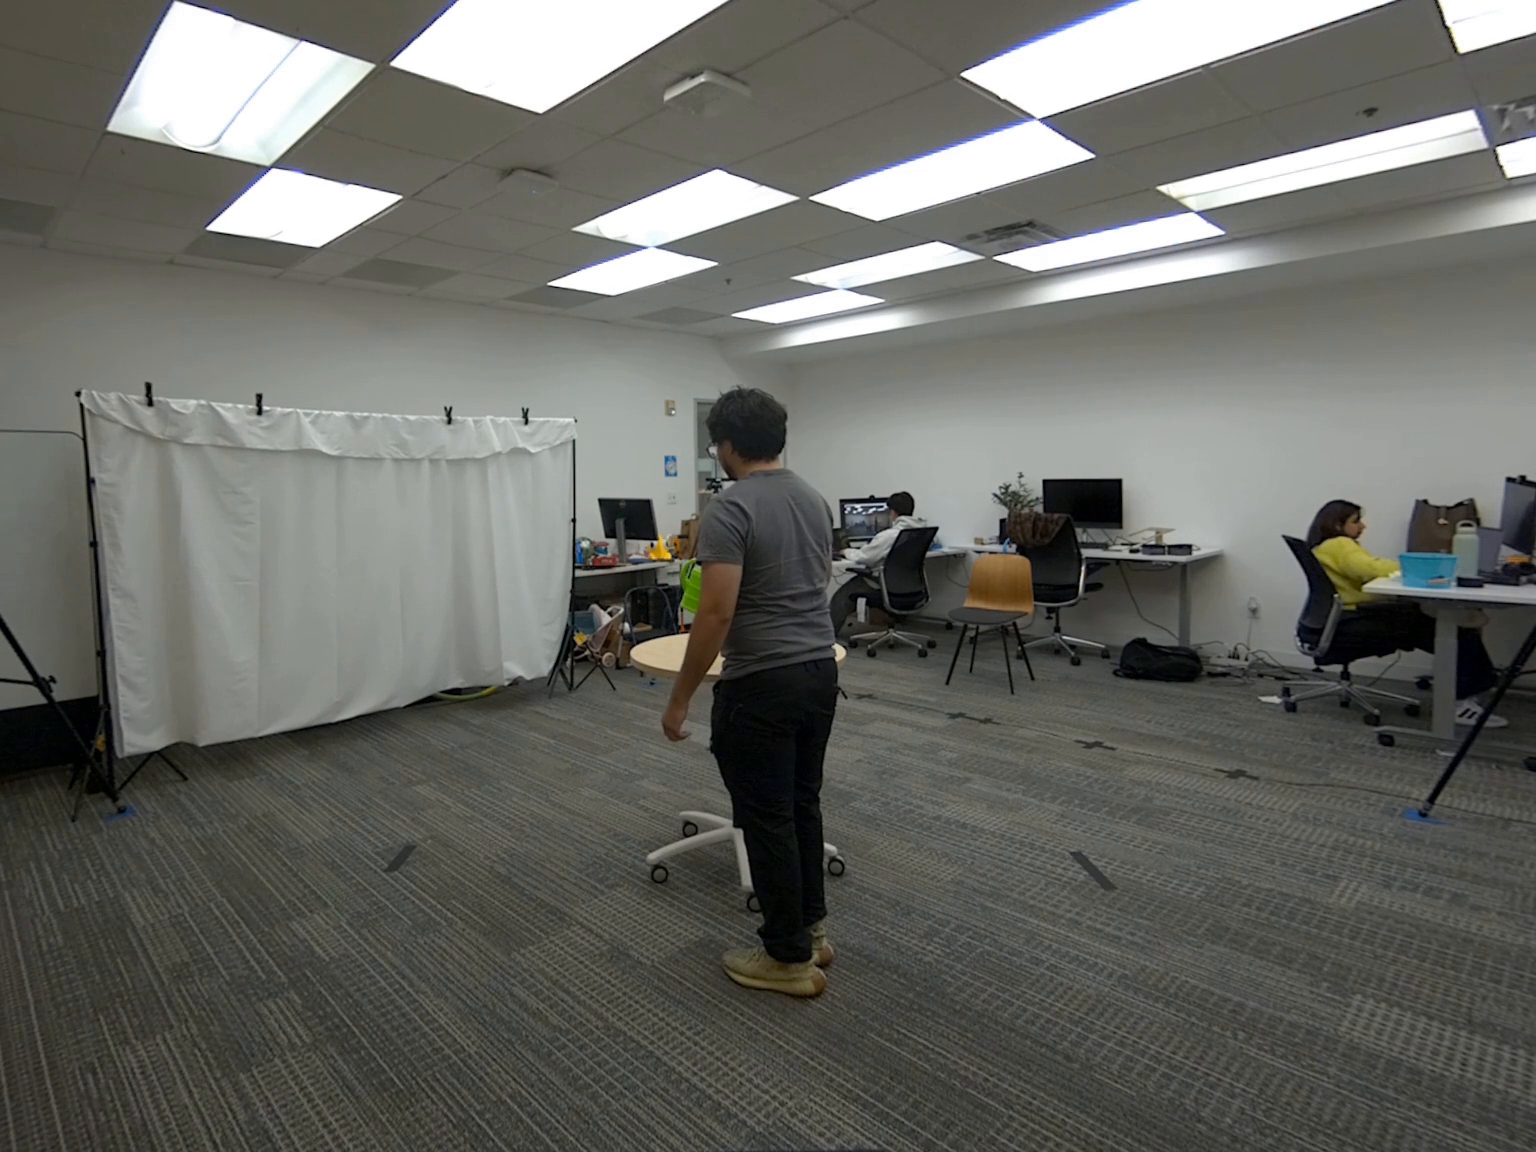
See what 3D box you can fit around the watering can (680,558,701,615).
[{"bbox_3d":[-0.147,0.056,2.734,0.284,0.176,0.096,21,5,17],"label":"watering can"}]
